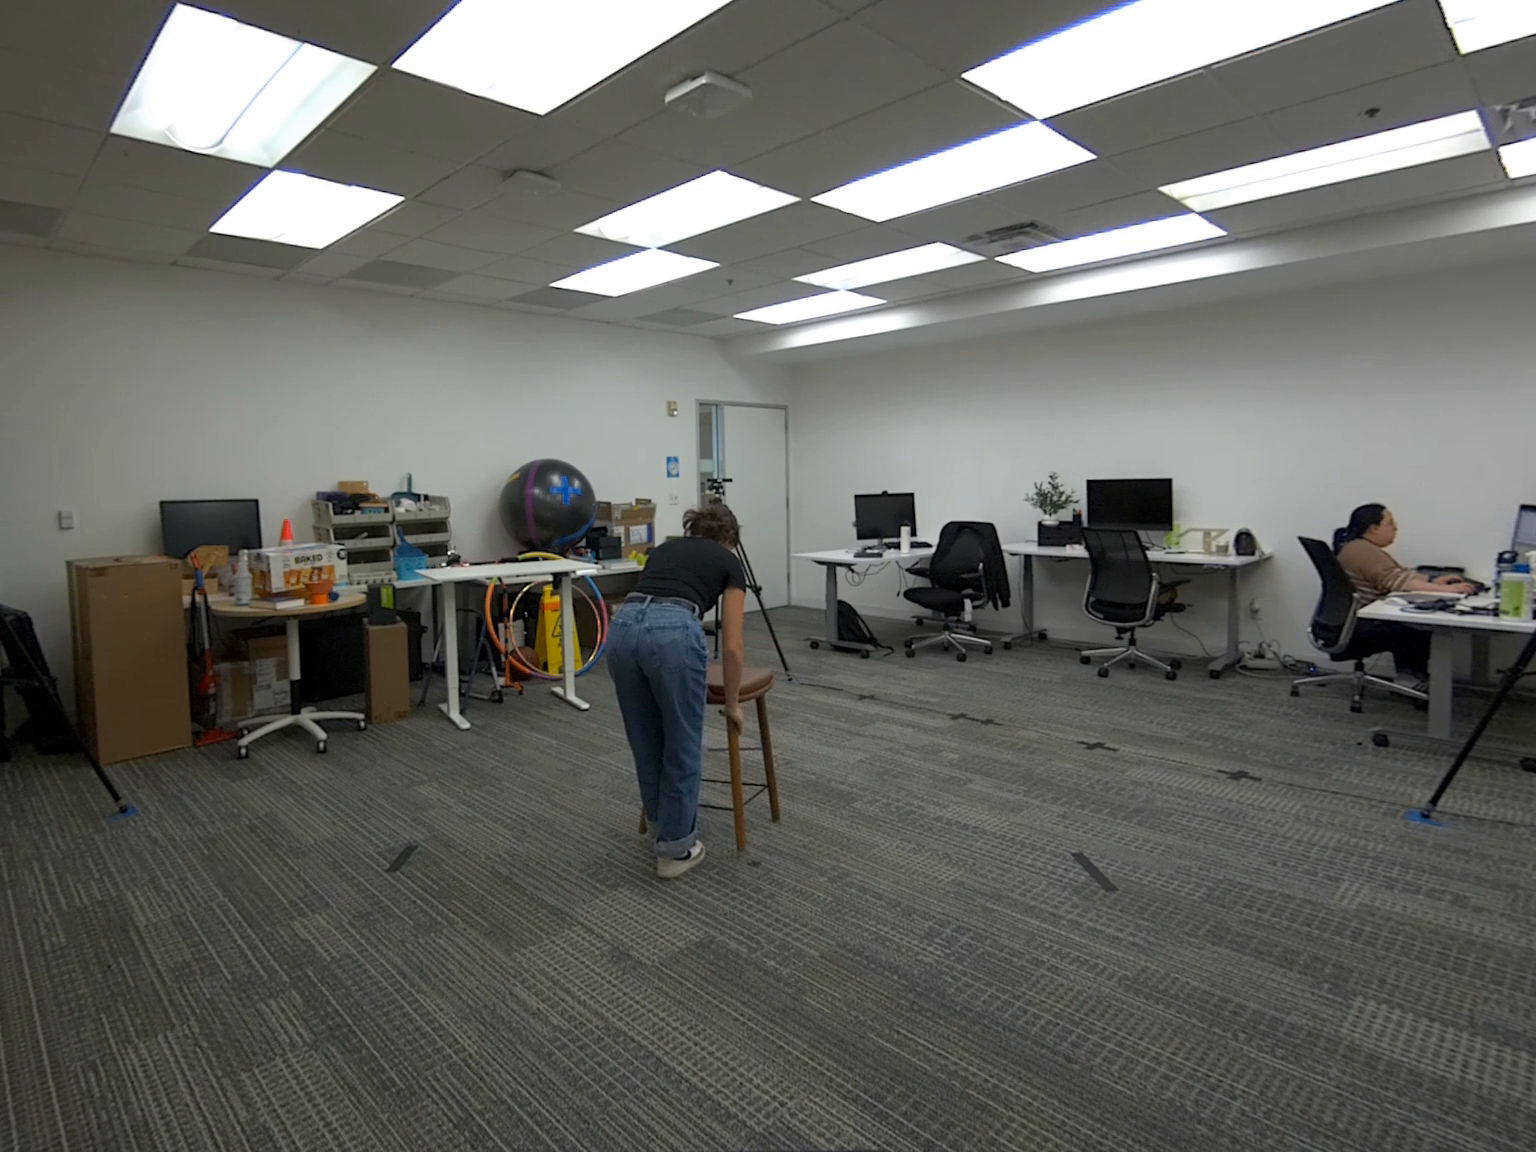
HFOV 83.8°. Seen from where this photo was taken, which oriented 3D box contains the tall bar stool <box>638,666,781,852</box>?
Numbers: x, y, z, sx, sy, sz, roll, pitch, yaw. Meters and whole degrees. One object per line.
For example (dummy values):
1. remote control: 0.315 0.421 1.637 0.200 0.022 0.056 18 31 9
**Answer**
1. tall bar stool: -0.231 0.569 3.418 0.477 0.891 0.446 -1 -1 23
